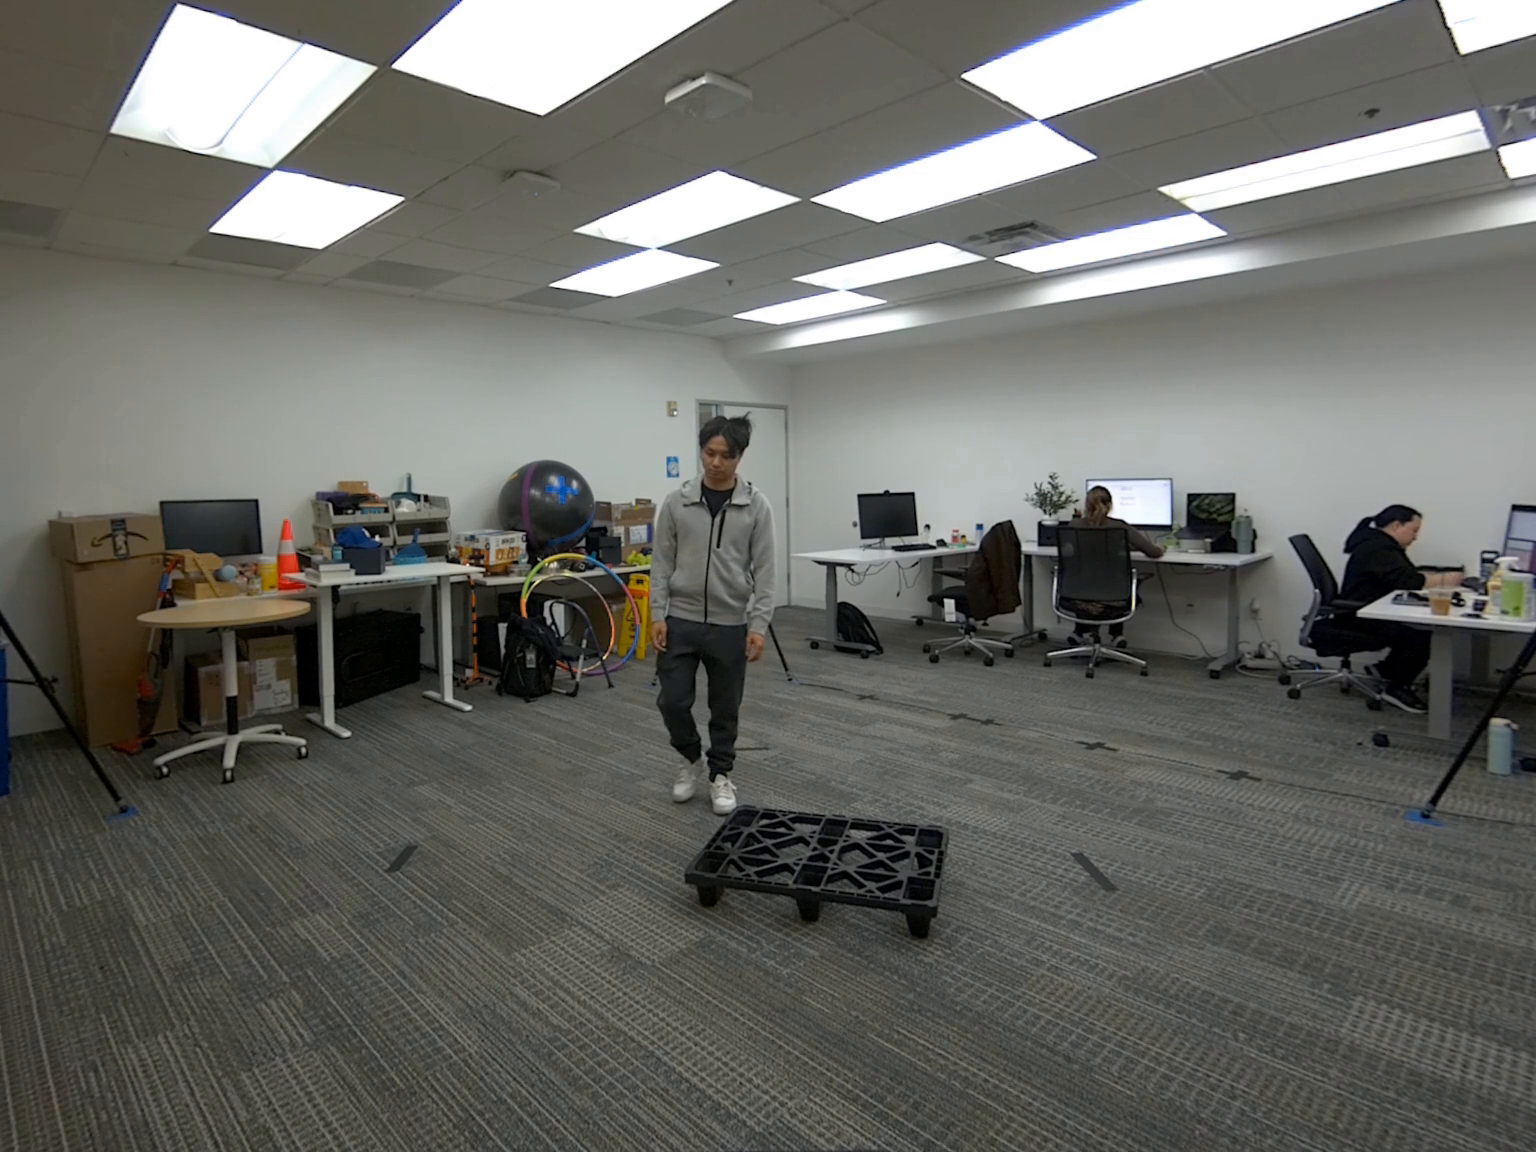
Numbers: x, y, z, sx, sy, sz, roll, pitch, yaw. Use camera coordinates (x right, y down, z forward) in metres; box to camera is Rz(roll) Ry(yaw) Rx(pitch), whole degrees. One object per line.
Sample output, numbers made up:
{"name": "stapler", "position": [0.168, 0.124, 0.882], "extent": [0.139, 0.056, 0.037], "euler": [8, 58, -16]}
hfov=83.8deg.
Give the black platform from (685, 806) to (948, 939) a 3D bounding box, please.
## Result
{"name": "black platform", "position": [0.189, 0.995, 2.919], "extent": [0.819, 0.143, 0.597], "euler": [1, 6, 17]}
